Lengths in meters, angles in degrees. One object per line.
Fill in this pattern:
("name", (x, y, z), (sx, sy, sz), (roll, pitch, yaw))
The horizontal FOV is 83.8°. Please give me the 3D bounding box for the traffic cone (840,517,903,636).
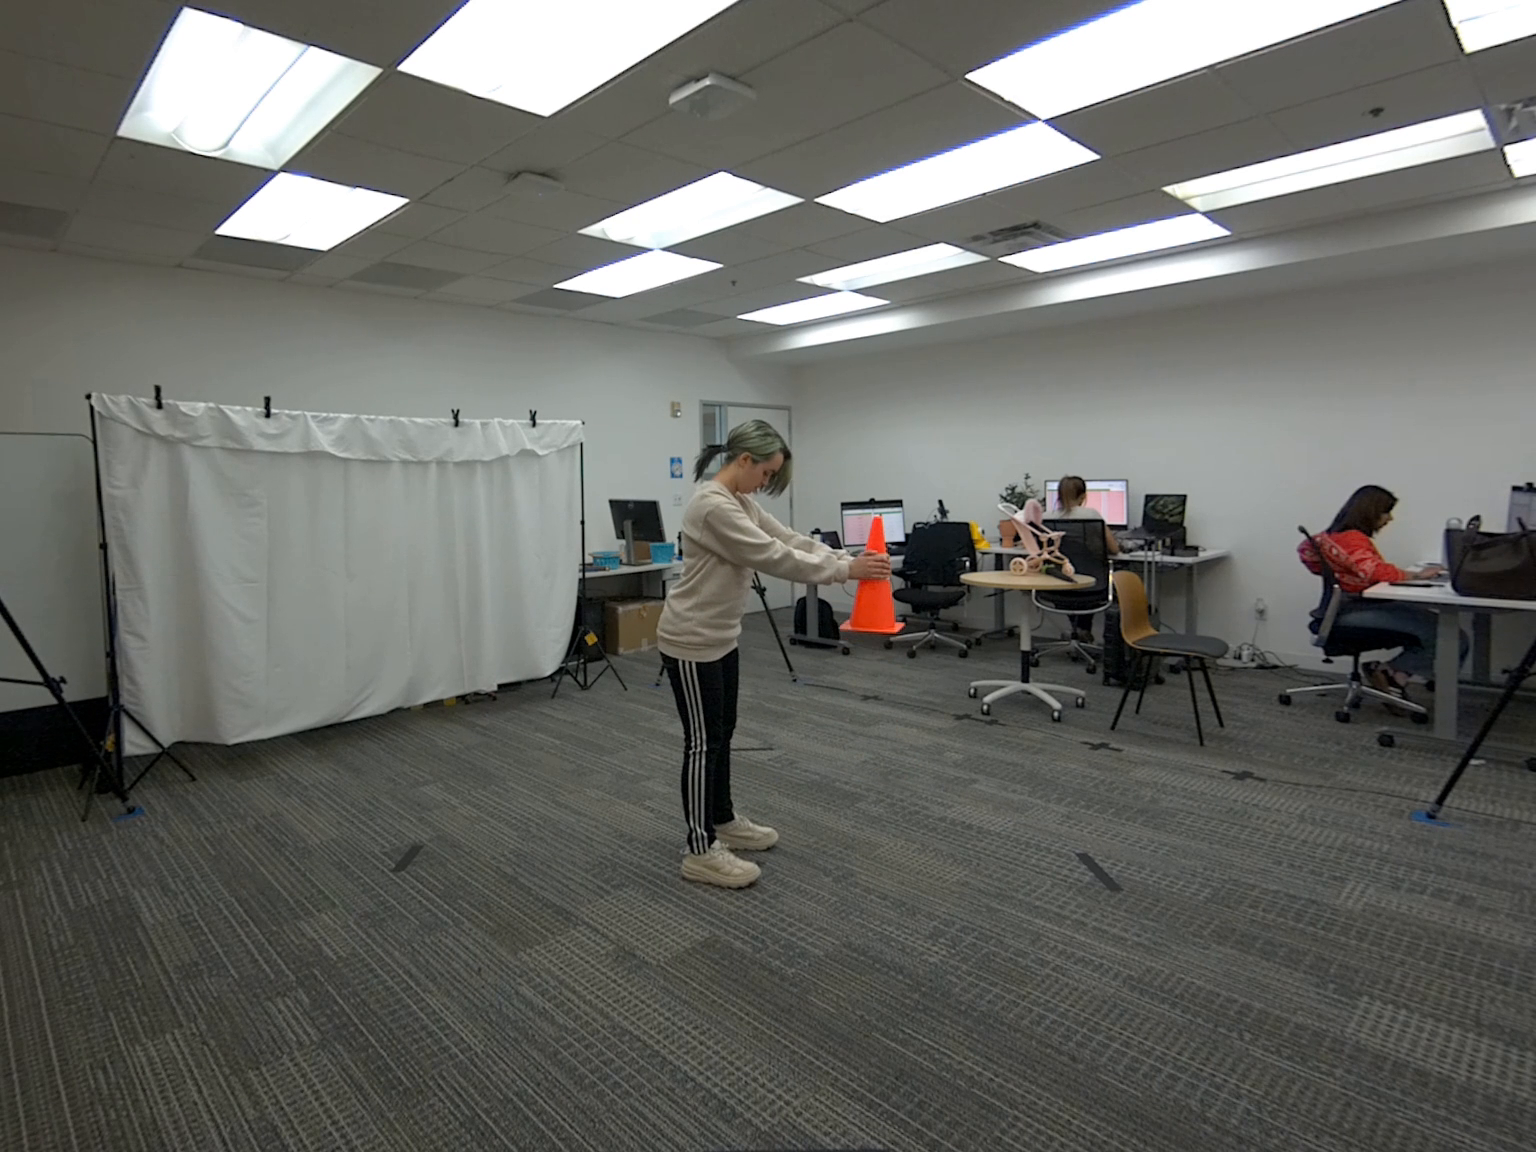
("traffic cone", (0.363, -0.007, 2.939), (0.208, 0.382, 0.201), (4, 7, 22))
